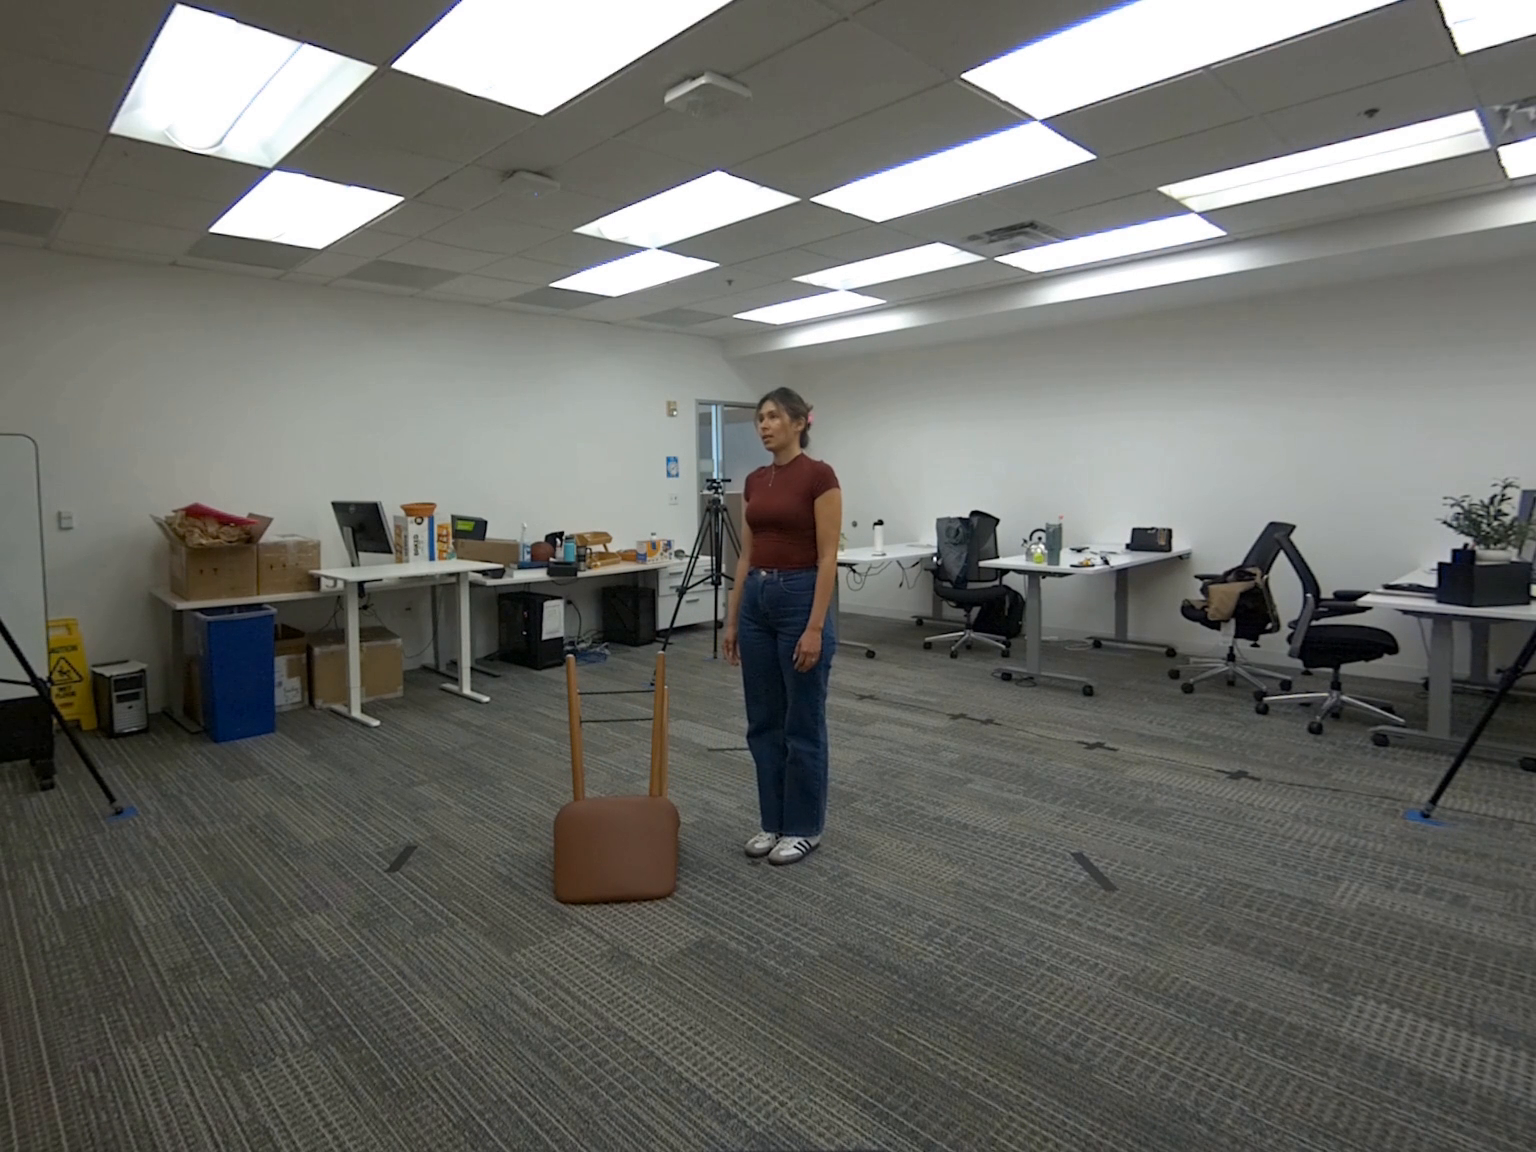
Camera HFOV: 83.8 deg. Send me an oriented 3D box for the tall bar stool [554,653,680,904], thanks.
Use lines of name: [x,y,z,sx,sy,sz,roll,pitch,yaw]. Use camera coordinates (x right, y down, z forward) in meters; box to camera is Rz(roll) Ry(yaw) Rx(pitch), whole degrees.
tall bar stool: [-0.566,0.785,3.240,0.454,0.913,0.458,-2,-30,-7]
